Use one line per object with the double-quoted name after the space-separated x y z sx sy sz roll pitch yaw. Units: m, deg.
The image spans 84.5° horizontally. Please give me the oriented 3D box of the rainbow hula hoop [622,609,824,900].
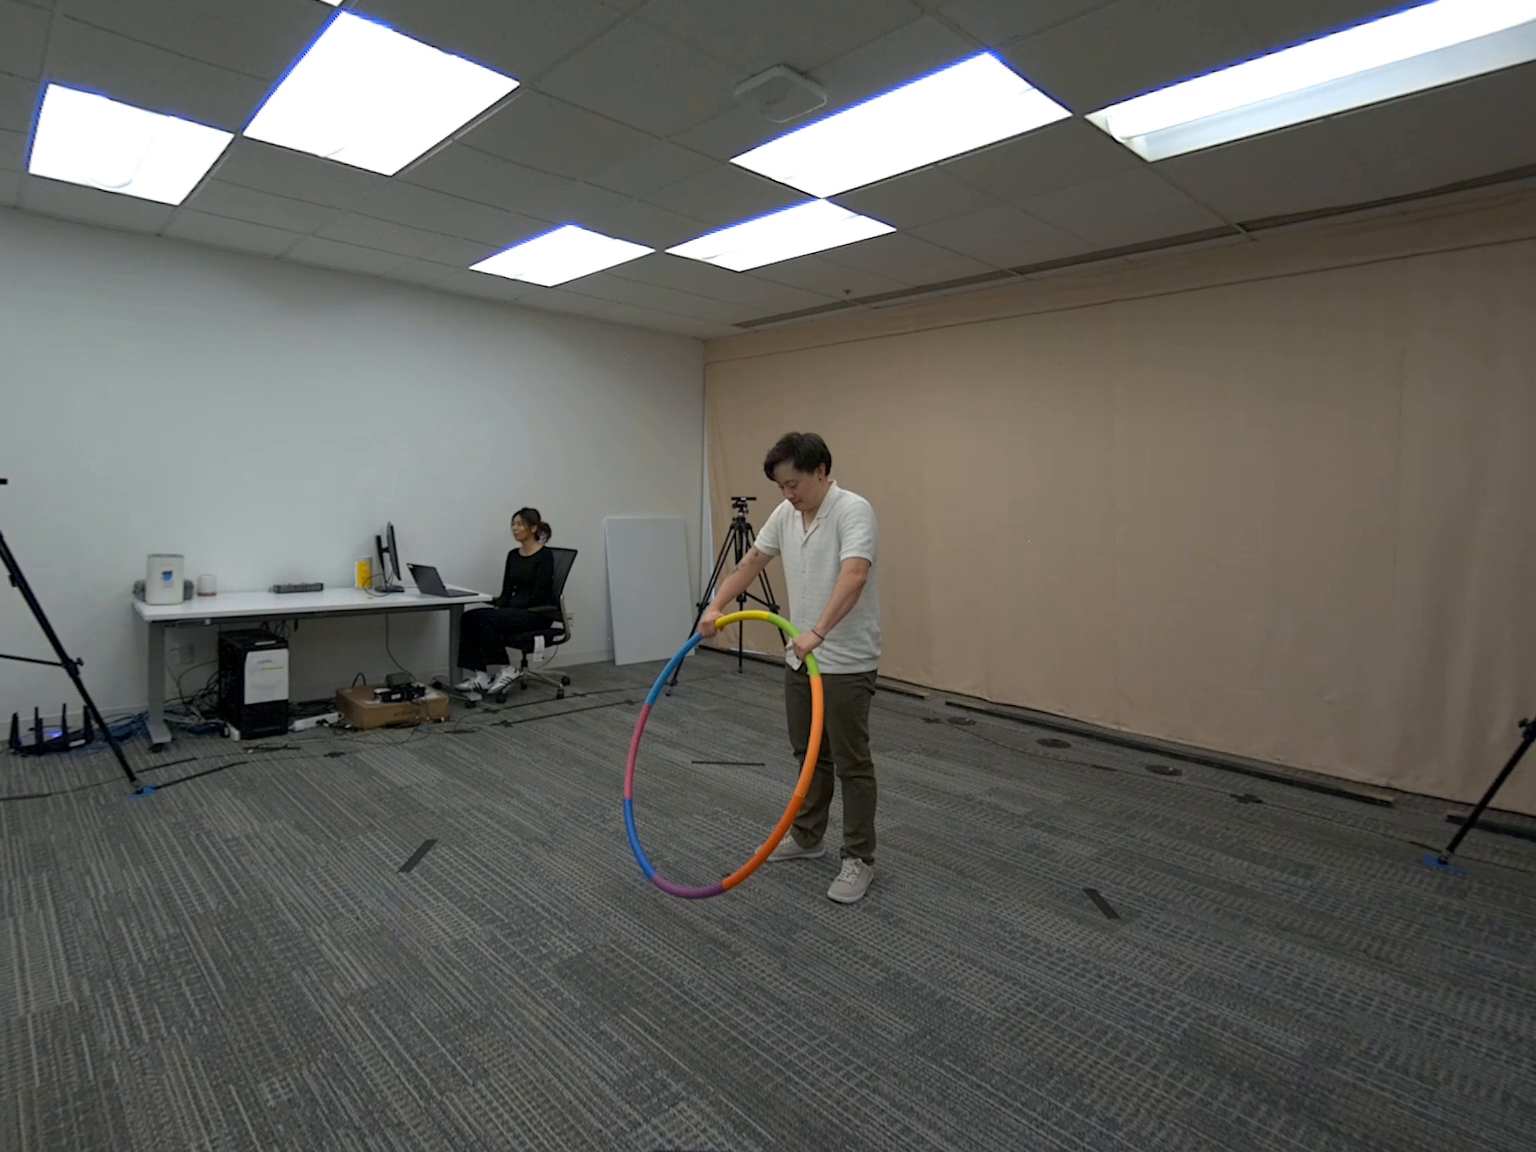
-0.193 0.582 2.852 0.034 0.983 1.003 30 -13 -35 "rainbow hula hoop"
